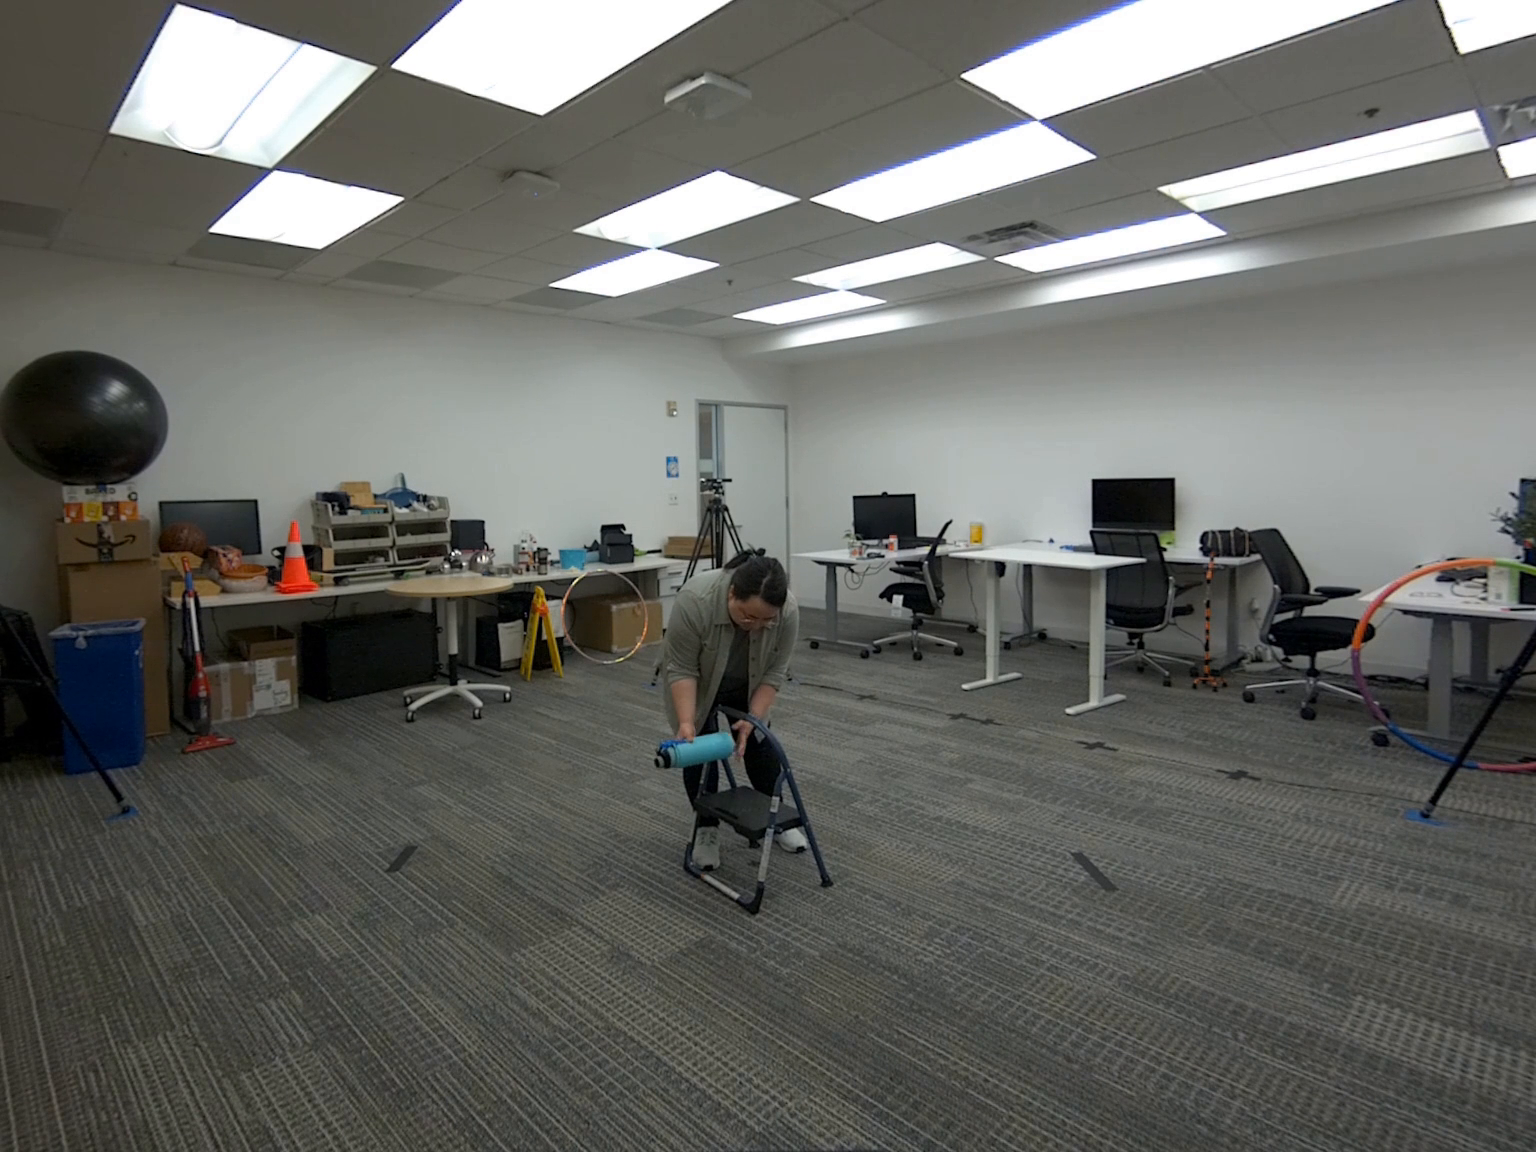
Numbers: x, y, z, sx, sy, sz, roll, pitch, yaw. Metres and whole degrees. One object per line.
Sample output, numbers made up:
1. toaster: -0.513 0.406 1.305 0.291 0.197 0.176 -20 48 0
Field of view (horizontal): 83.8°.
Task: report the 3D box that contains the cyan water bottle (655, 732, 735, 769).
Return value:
1. cyan water bottle: -0.252 0.583 2.857 0.275 0.092 0.095 -1 4 -37
